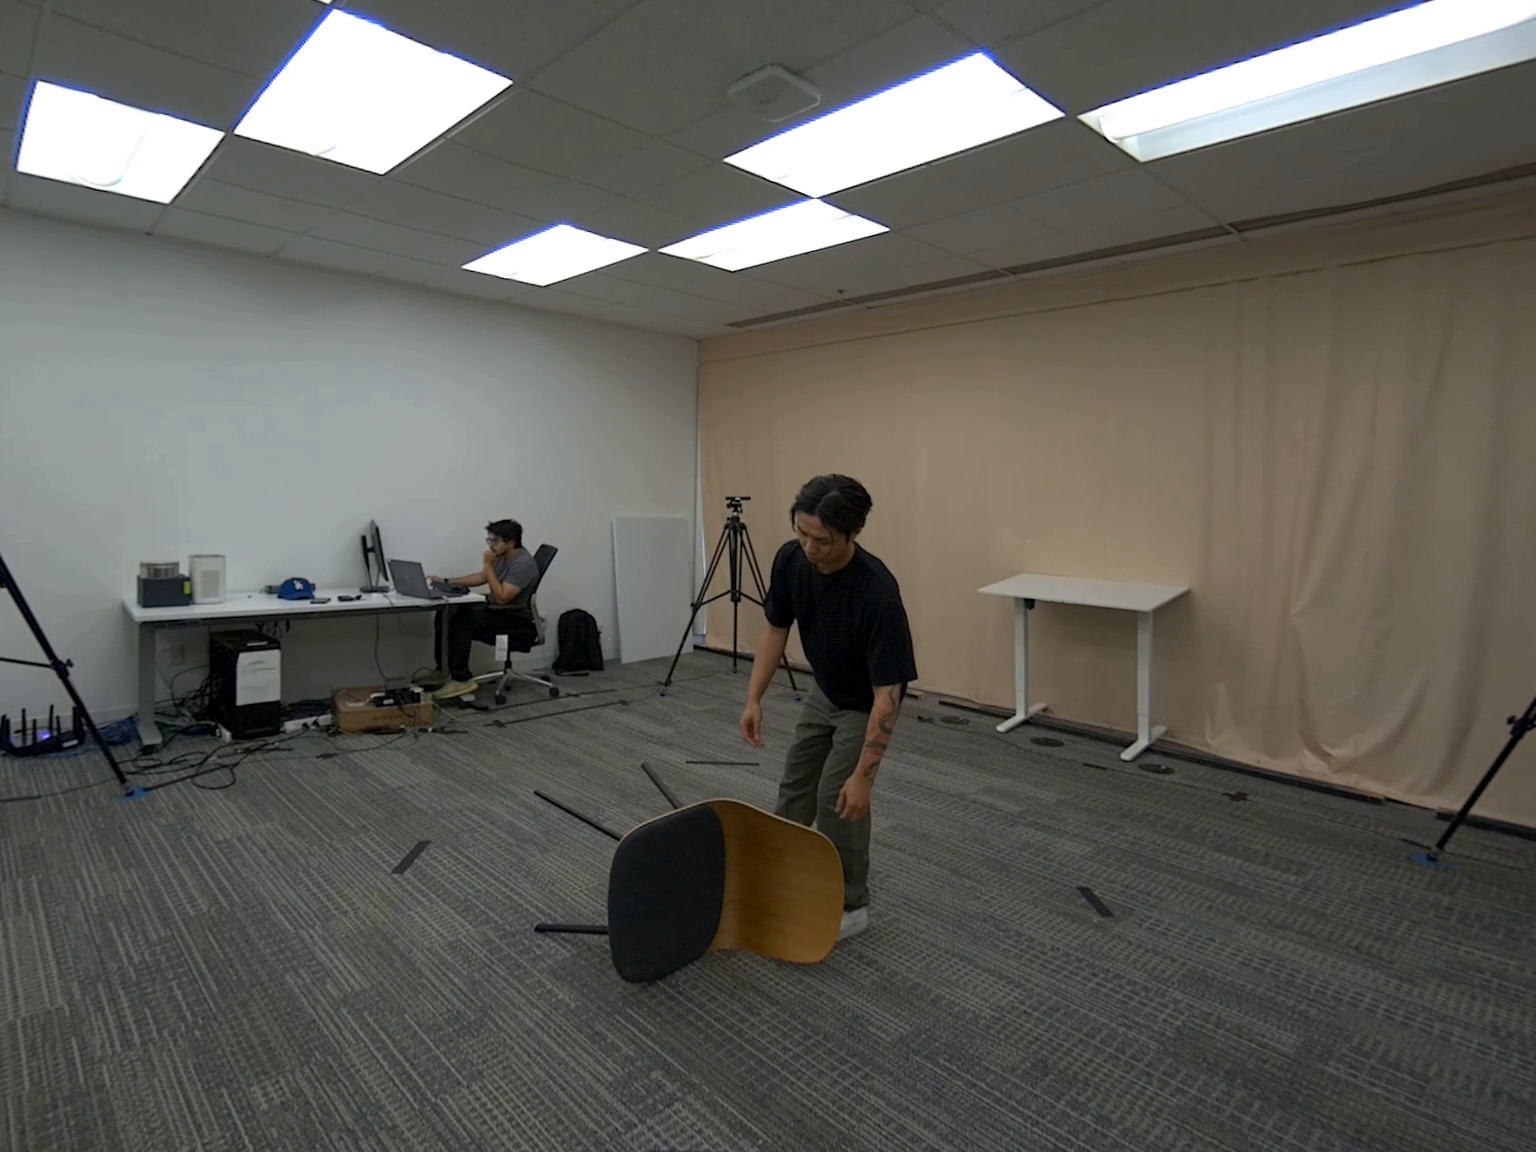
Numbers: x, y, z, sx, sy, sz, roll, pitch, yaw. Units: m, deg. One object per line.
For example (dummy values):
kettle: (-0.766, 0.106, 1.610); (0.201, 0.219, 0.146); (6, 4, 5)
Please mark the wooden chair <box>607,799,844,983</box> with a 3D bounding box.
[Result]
wooden chair: (-0.283, 0.925, 2.529); (0.899, 0.477, 0.511); (4, 5, 39)
